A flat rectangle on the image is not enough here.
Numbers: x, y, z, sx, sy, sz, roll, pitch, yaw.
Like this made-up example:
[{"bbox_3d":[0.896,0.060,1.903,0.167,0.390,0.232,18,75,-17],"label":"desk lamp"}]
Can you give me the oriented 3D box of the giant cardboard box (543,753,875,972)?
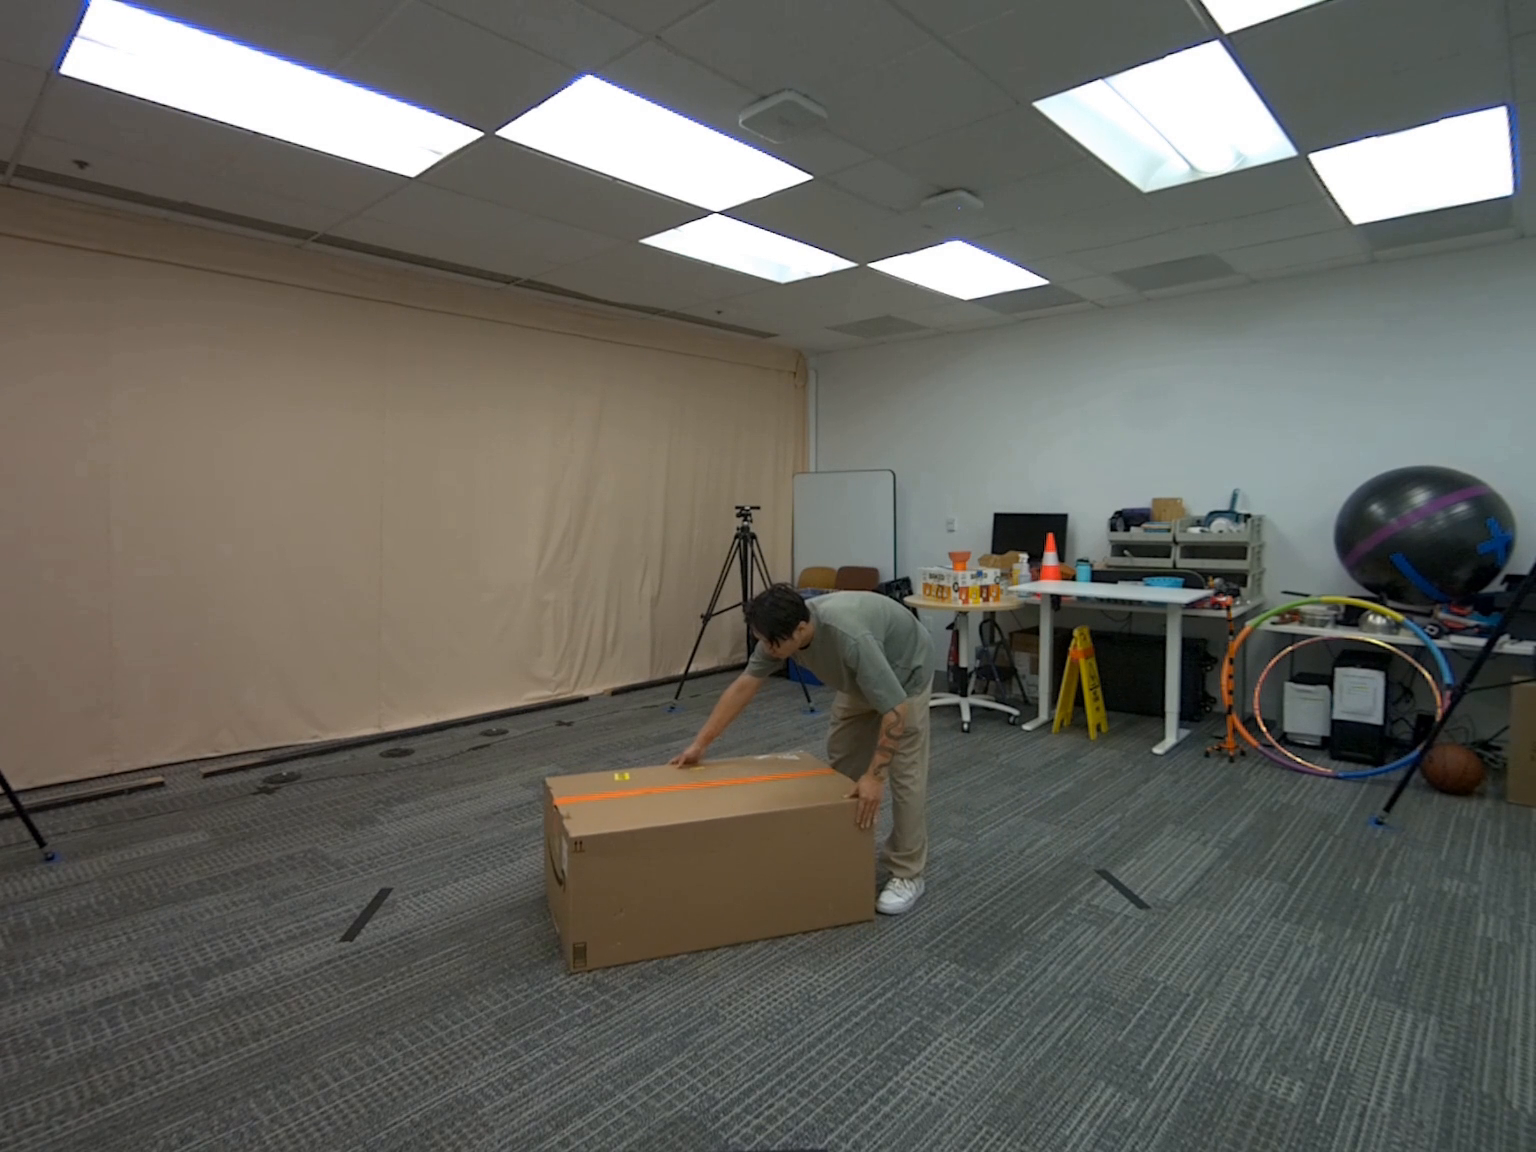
[{"bbox_3d":[-0.225,0.930,2.916,1.006,0.425,0.590,-1,5,-20],"label":"giant cardboard box"}]
